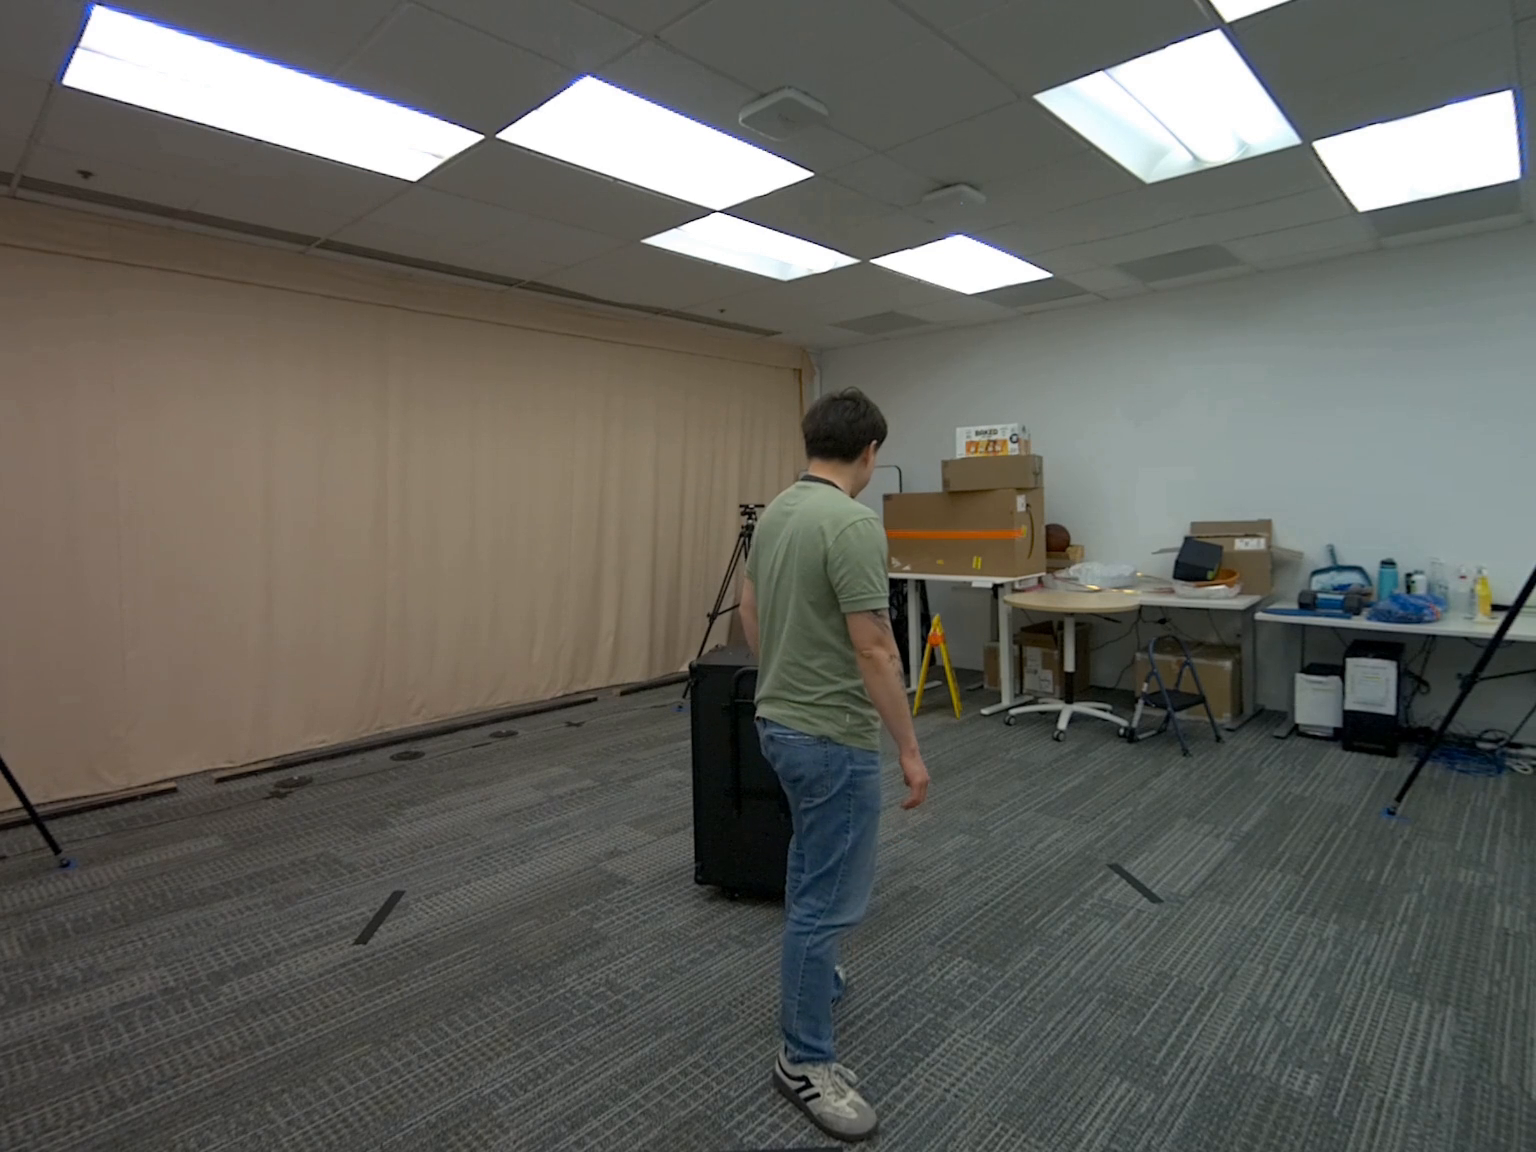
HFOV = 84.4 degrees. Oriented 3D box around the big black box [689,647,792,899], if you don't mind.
[{"bbox_3d":[0.010,0.711,3.020,0.530,0.859,0.391,0,4,14],"label":"big black box"}]
